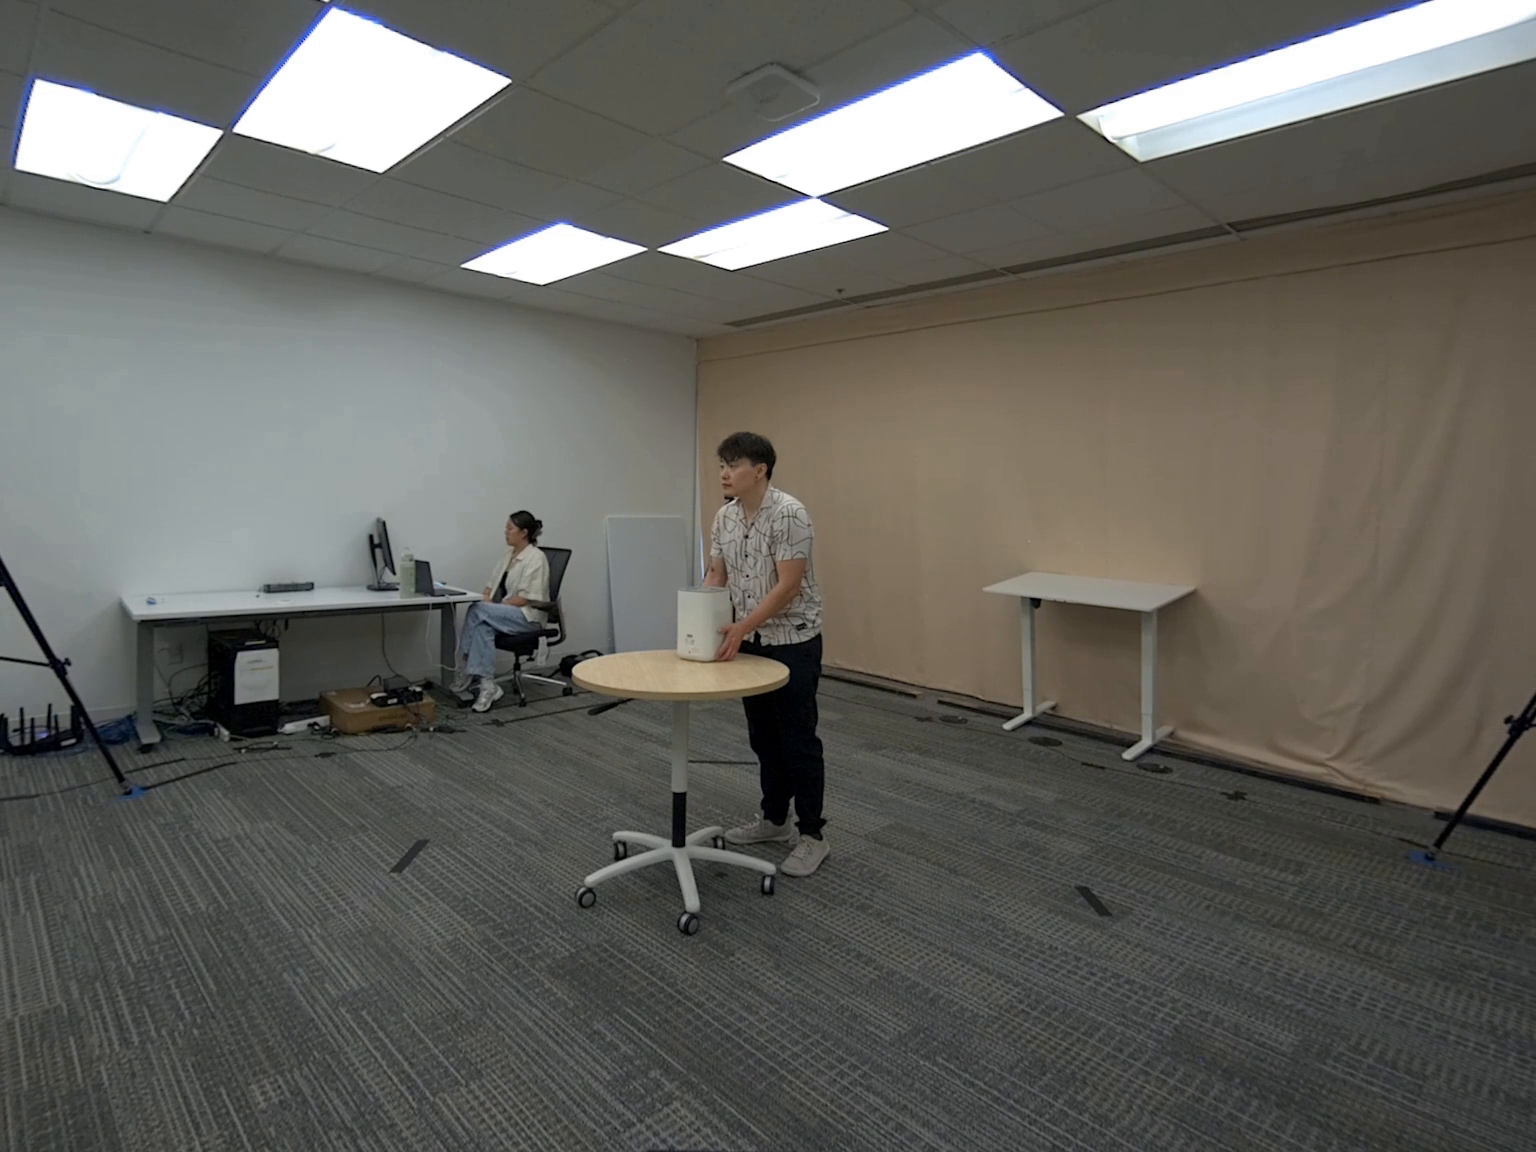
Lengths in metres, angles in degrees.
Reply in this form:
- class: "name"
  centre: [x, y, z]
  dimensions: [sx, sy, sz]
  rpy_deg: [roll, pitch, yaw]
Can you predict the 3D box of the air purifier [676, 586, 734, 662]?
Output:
- class: "air purifier"
  centre: [-0.253, 0.182, 3.177]
  dimensions: [0.175, 0.264, 0.168]
  rpy_deg: [3, 5, 32]
